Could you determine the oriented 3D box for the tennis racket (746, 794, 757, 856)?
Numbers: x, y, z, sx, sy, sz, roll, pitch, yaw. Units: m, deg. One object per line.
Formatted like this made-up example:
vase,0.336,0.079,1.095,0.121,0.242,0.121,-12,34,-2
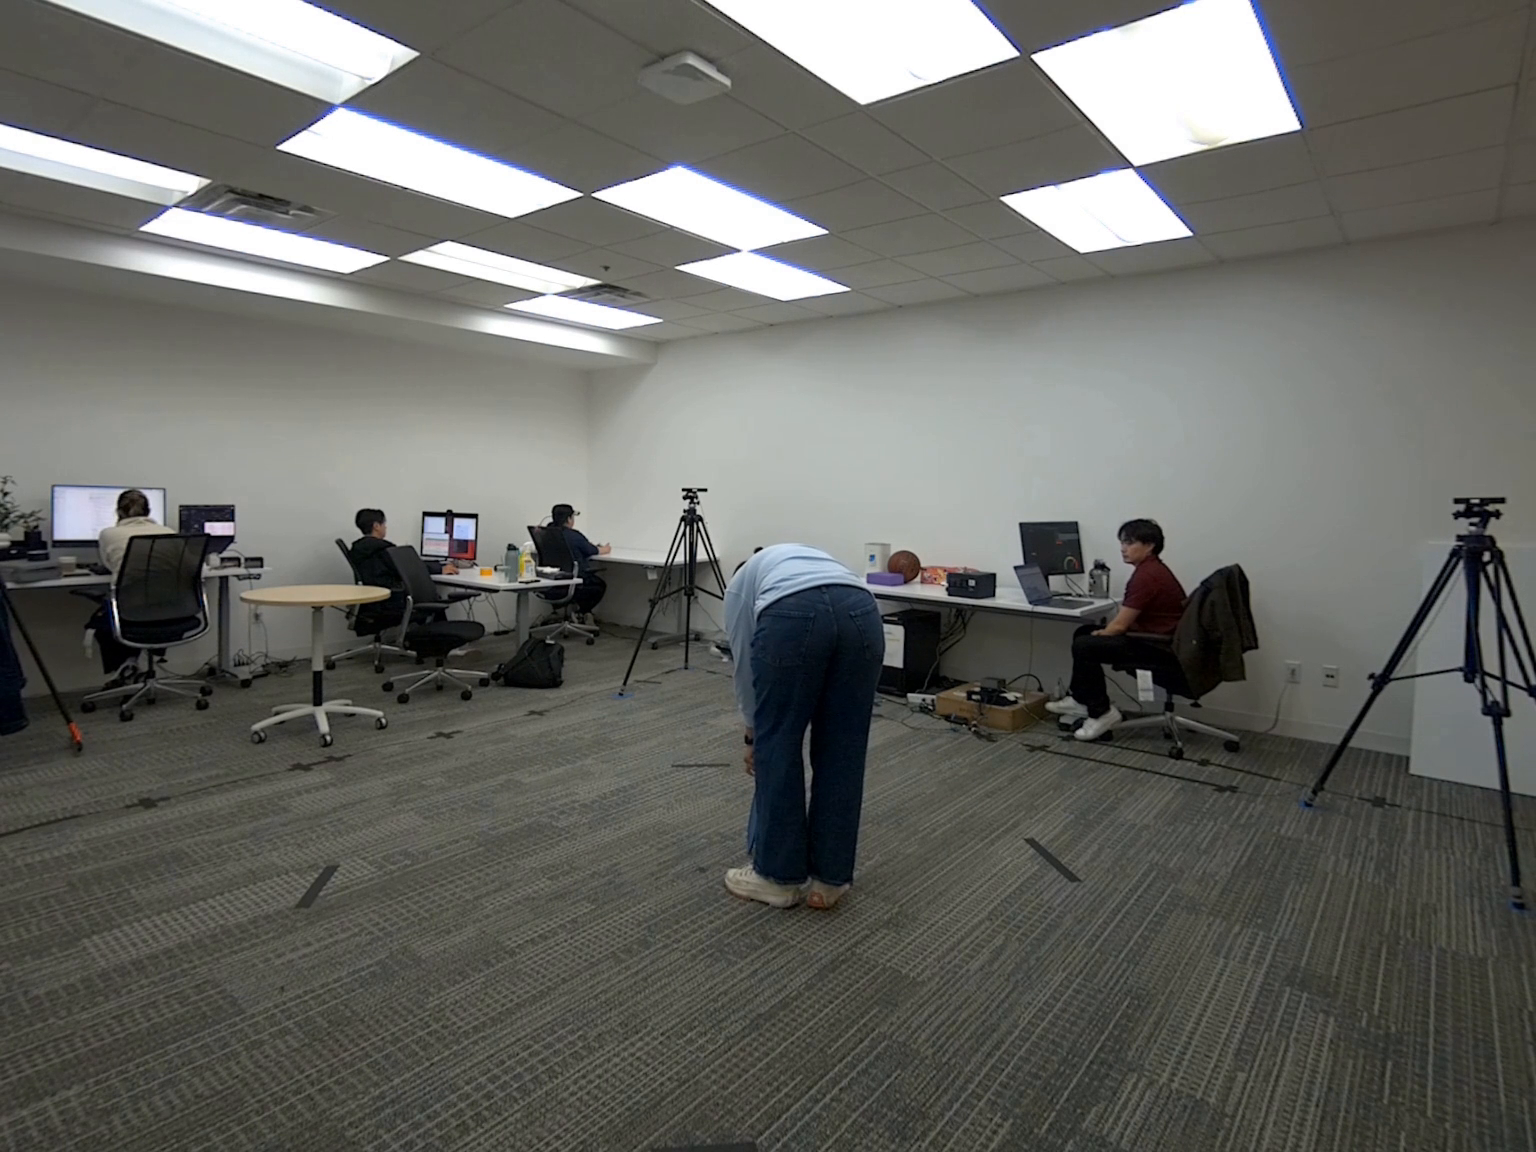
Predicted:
tennis racket,-0.056,0.844,3.233,0.031,0.428,0.217,5,13,-7
